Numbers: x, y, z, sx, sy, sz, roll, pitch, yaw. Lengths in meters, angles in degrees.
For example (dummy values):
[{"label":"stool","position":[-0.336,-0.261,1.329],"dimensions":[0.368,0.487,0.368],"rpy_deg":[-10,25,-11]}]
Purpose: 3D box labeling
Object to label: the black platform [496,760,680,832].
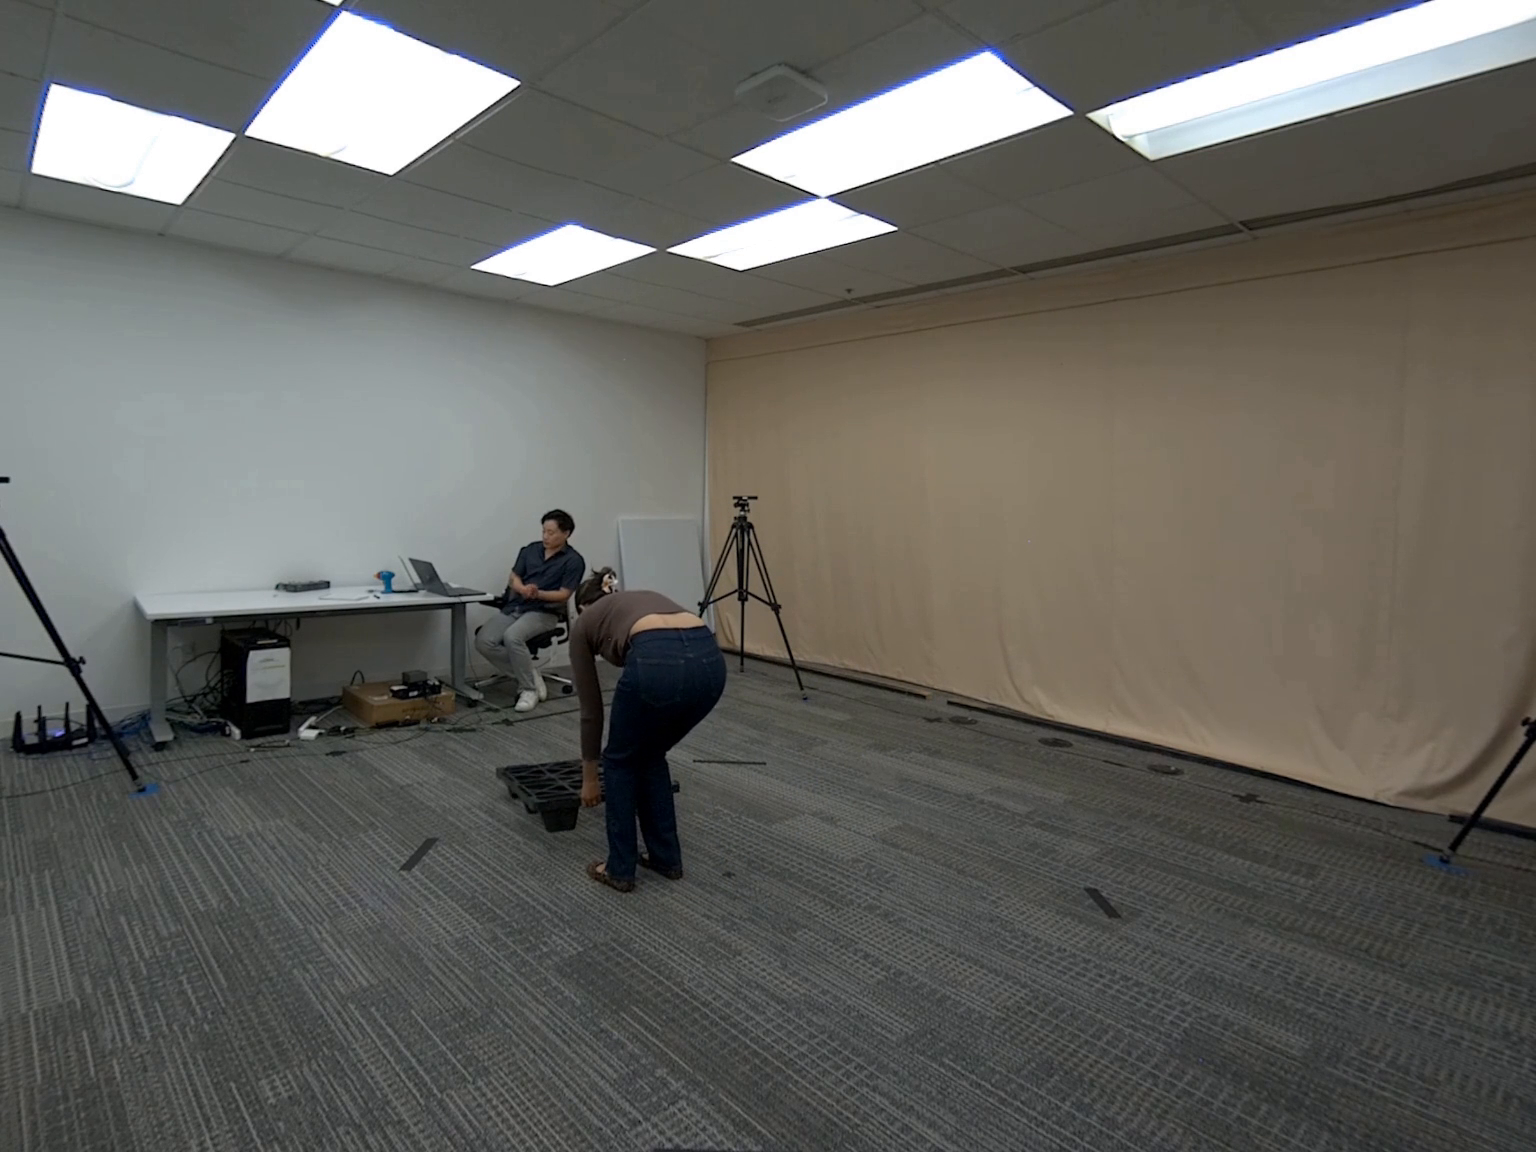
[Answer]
[{"label":"black platform","position":[-0.814,0.929,3.630],"dimensions":[0.594,0.143,0.819],"rpy_deg":[-2,-2,-27]}]
